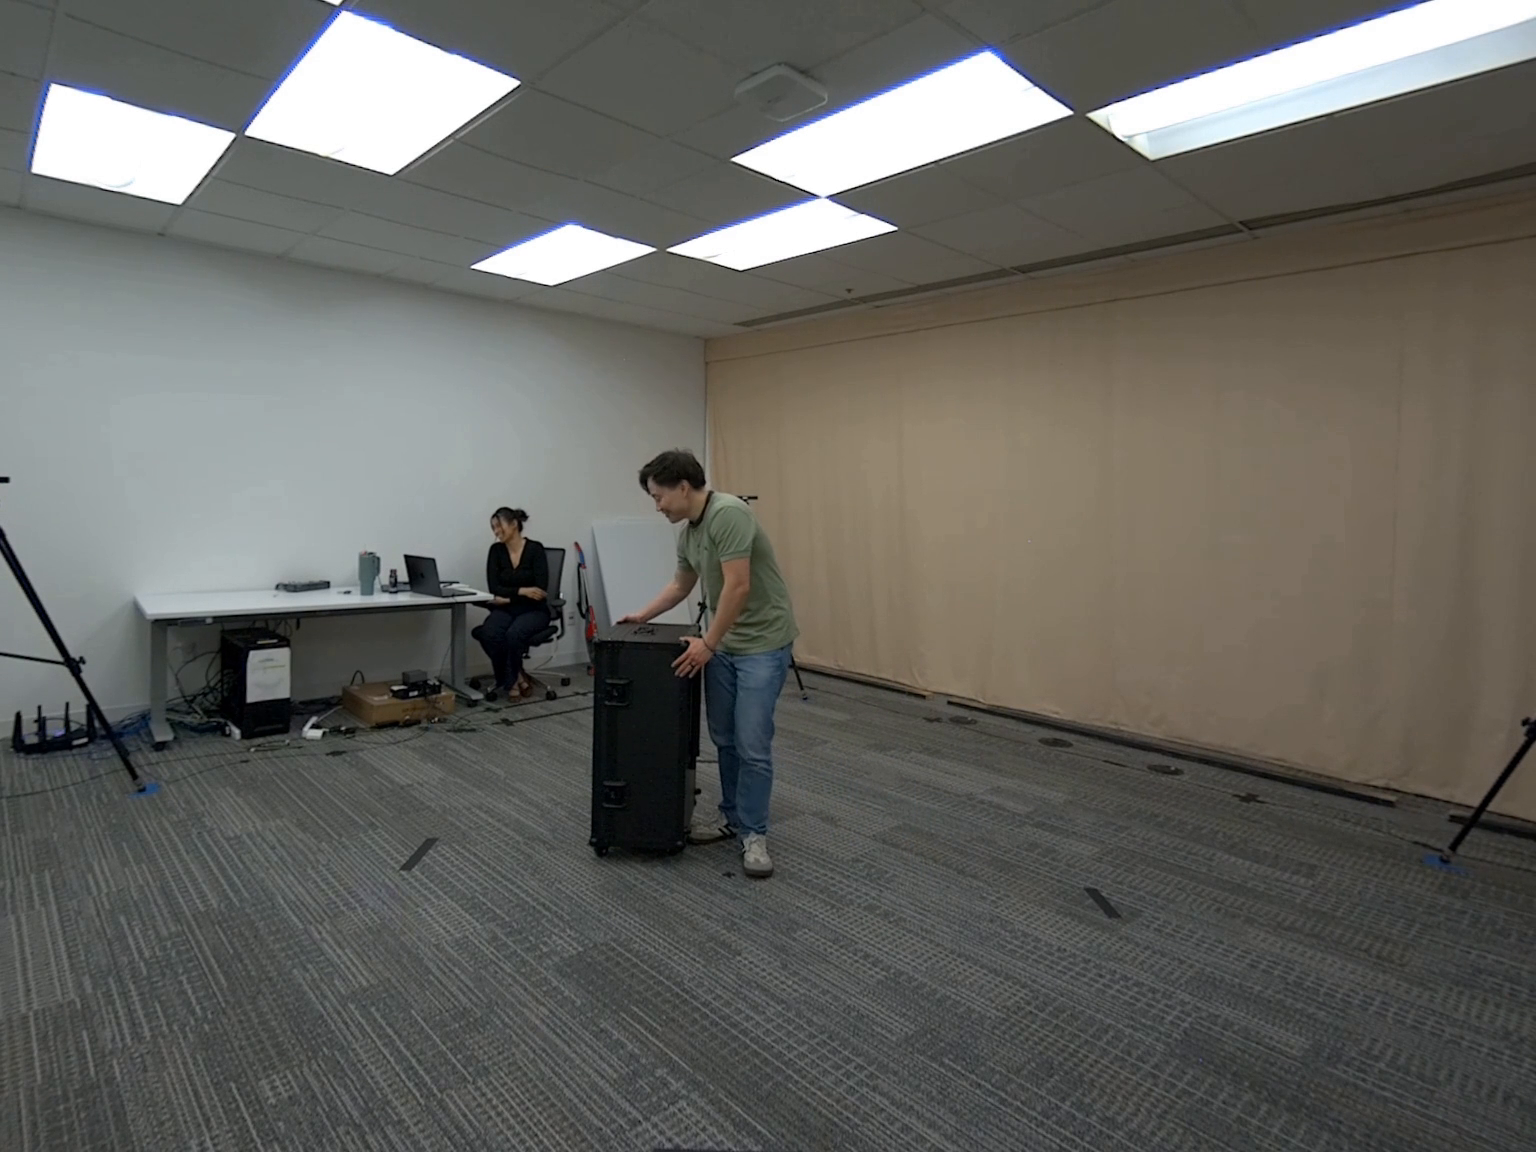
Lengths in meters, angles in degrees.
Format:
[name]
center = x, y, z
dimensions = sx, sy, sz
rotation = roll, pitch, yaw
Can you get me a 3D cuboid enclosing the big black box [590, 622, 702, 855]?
[big black box]
center = -0.475, 0.645, 3.376
dimensions = 0.397, 0.860, 0.521
rotation = 2, 3, 2
